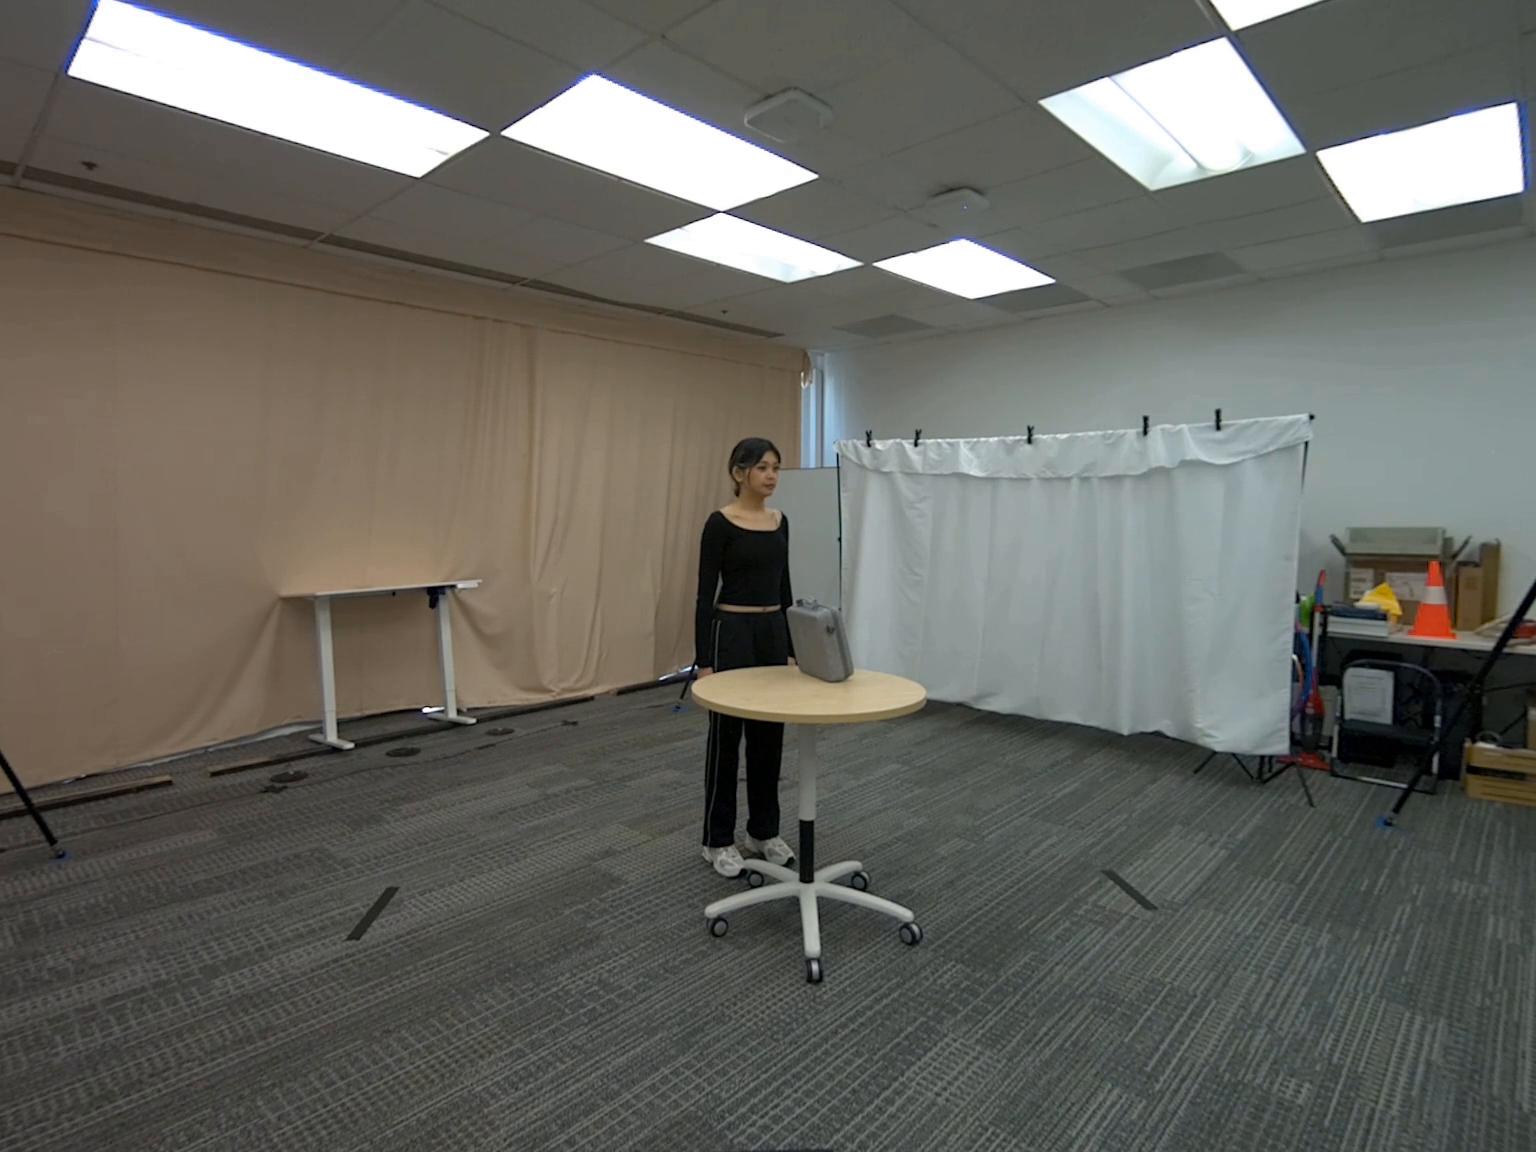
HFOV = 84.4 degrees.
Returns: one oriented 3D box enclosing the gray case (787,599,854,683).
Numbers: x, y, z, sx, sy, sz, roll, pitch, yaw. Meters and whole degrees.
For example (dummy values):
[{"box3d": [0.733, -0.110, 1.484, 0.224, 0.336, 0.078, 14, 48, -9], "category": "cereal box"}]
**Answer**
[{"box3d": [0.185, 0.224, 2.945, 0.102, 0.259, 0.263, -13, 8, -22], "category": "gray case"}]
